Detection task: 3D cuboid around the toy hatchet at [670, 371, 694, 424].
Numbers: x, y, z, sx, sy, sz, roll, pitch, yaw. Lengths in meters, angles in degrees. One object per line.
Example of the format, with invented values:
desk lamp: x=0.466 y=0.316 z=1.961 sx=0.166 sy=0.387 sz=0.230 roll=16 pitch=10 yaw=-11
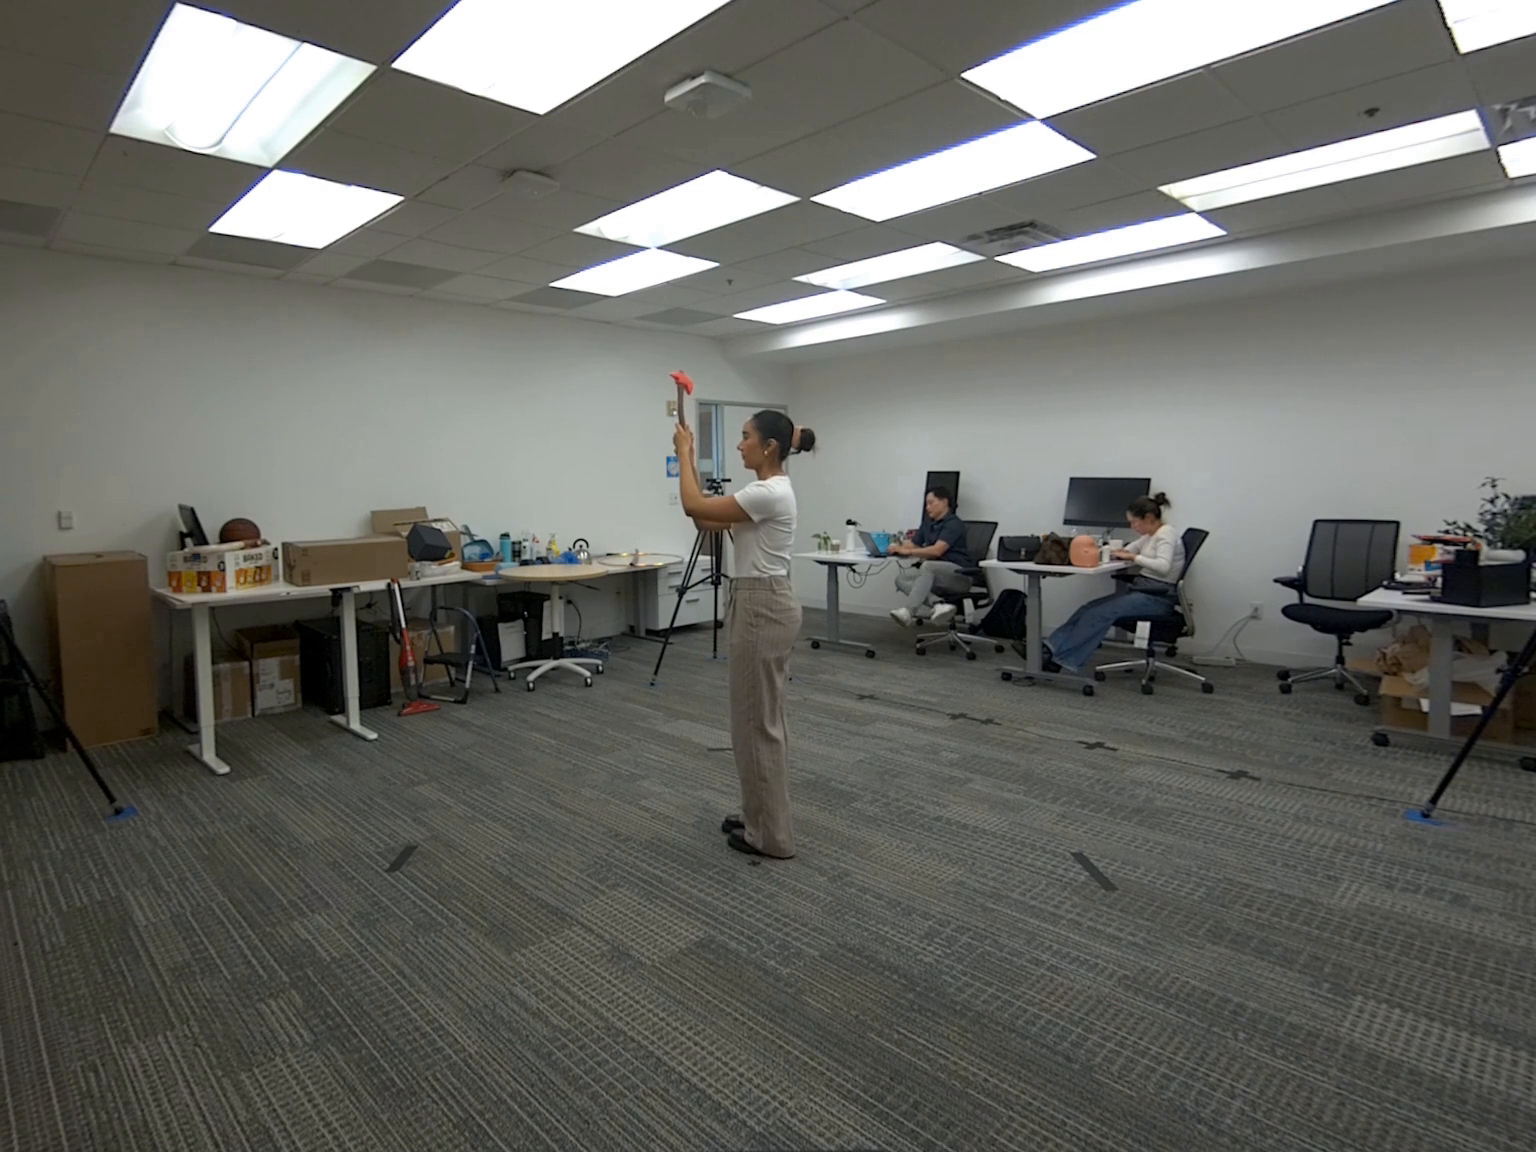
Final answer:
toy hatchet: x=-0.315 y=-0.663 z=3.325 sx=0.030 sy=0.269 sz=0.128 roll=-6 pitch=5 yaw=33
